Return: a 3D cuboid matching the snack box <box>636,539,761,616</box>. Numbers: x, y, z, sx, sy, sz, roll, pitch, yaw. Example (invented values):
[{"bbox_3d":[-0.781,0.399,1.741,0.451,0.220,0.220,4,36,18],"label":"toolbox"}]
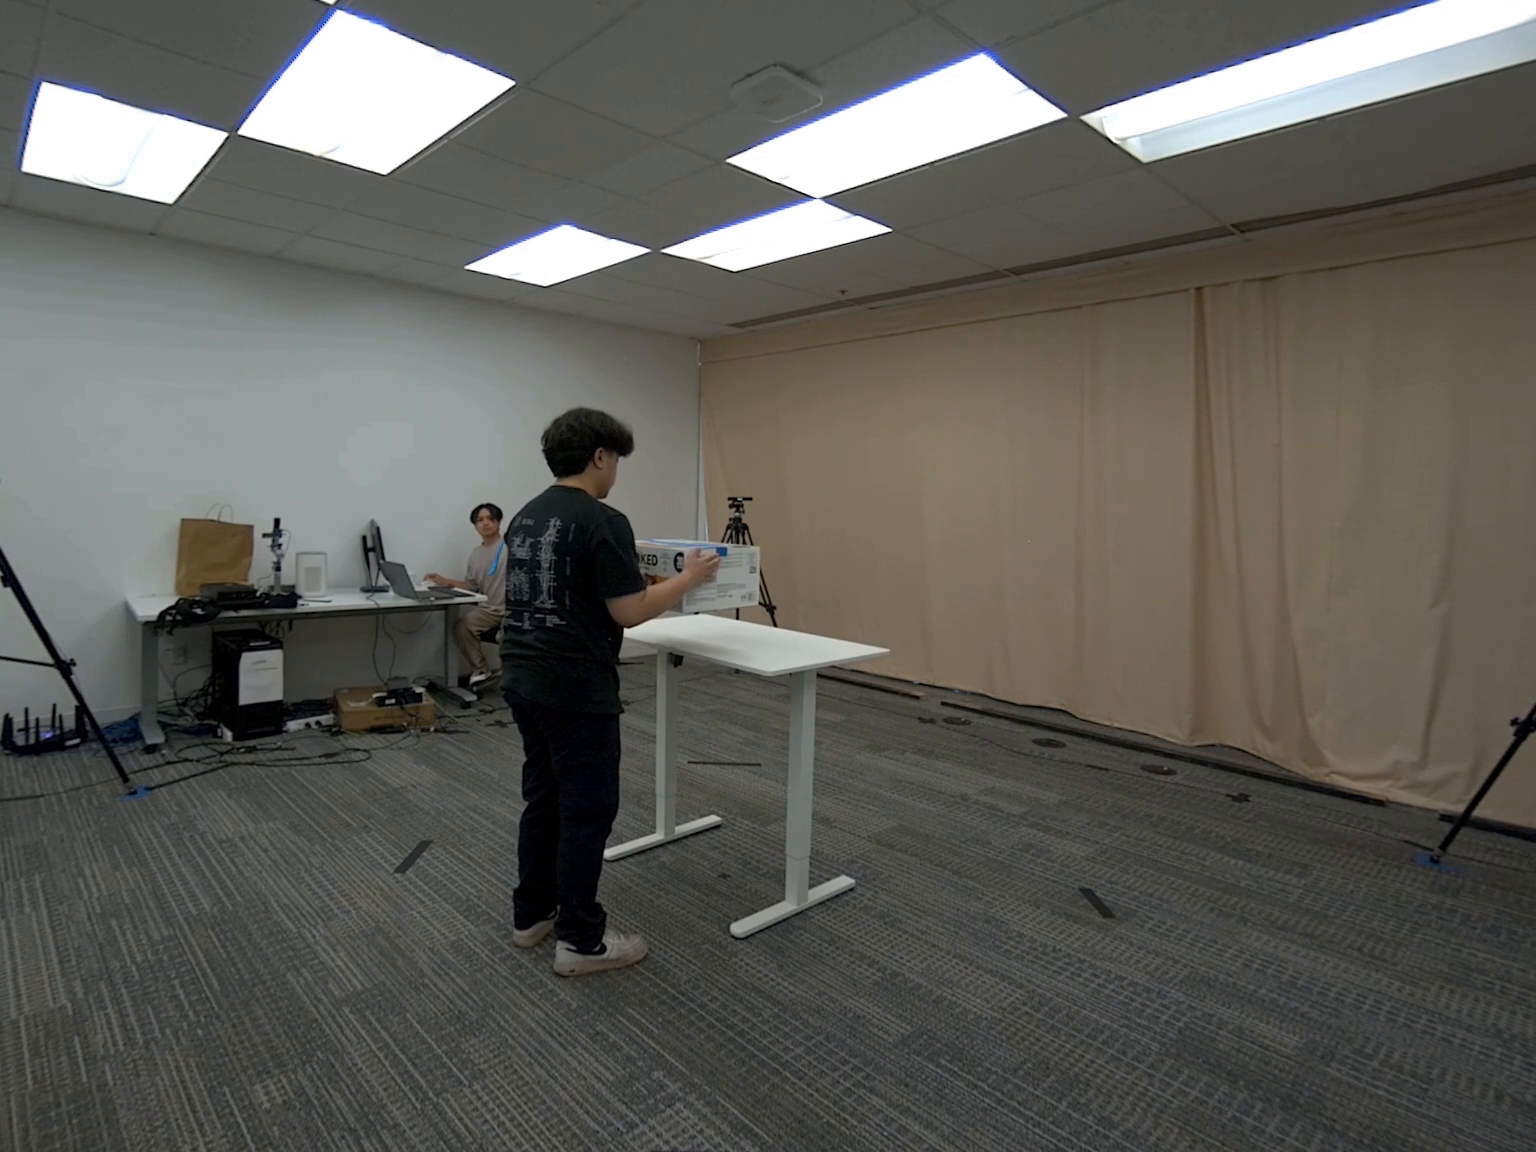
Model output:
[{"bbox_3d":[-0.293,-0.005,2.870,0.416,0.205,0.333,7,8,44],"label":"snack box"}]
